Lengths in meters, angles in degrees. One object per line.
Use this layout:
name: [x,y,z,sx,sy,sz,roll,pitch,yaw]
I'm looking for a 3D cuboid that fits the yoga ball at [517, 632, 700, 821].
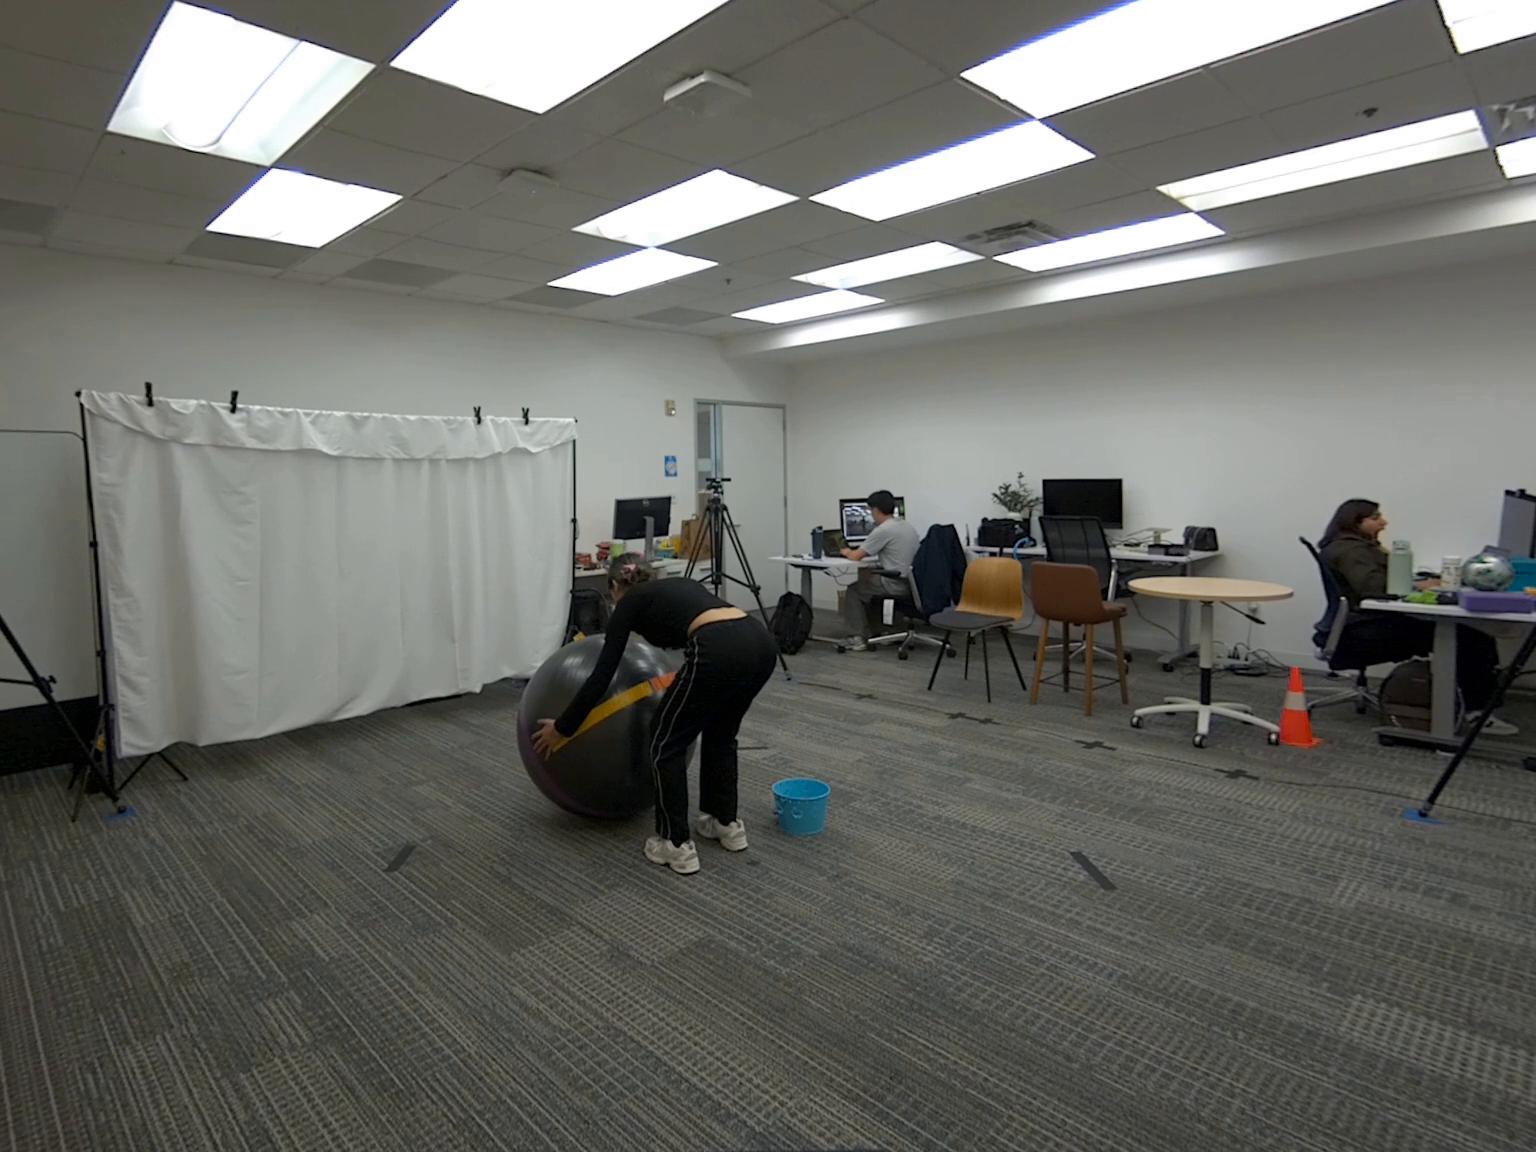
yoga ball: [-0.681,0.622,3.601,0.757,0.755,0.762,-1,5,-2]
